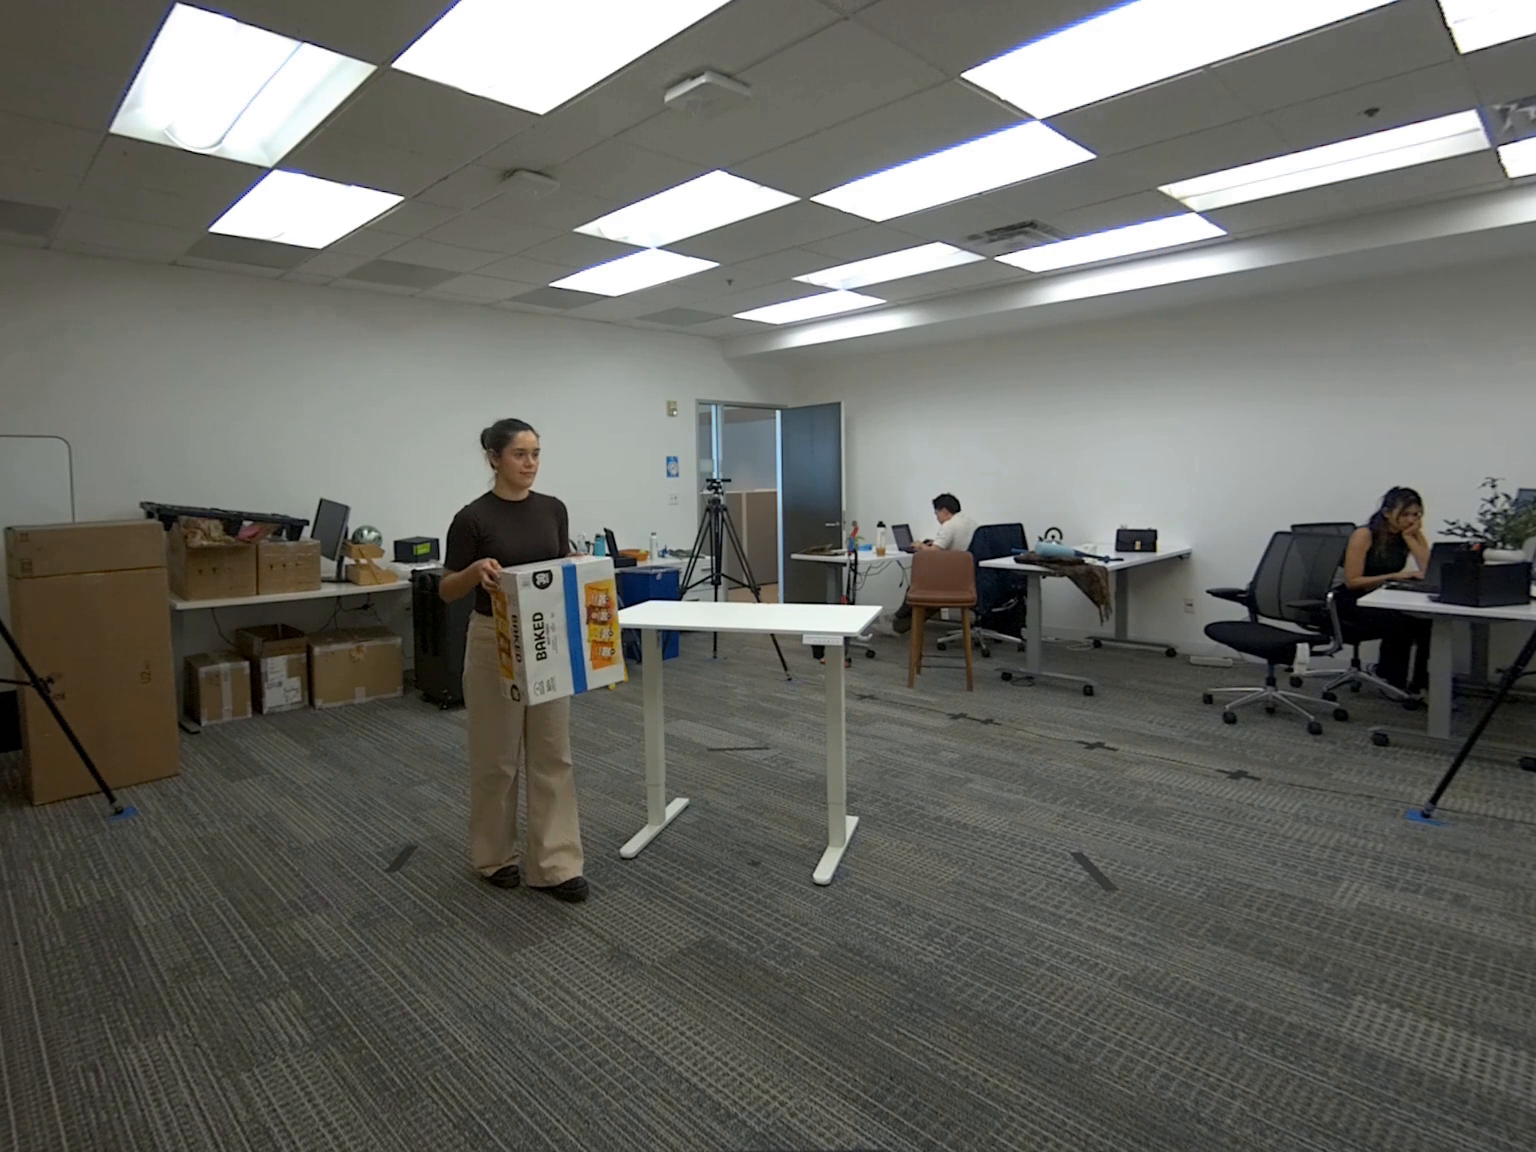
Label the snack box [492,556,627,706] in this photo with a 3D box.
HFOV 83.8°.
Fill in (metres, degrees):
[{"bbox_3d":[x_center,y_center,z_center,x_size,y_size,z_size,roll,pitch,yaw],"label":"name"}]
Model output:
[{"bbox_3d":[-0.672,0.159,2.709,0.332,0.403,0.212,-10,8,-41],"label":"snack box"}]
